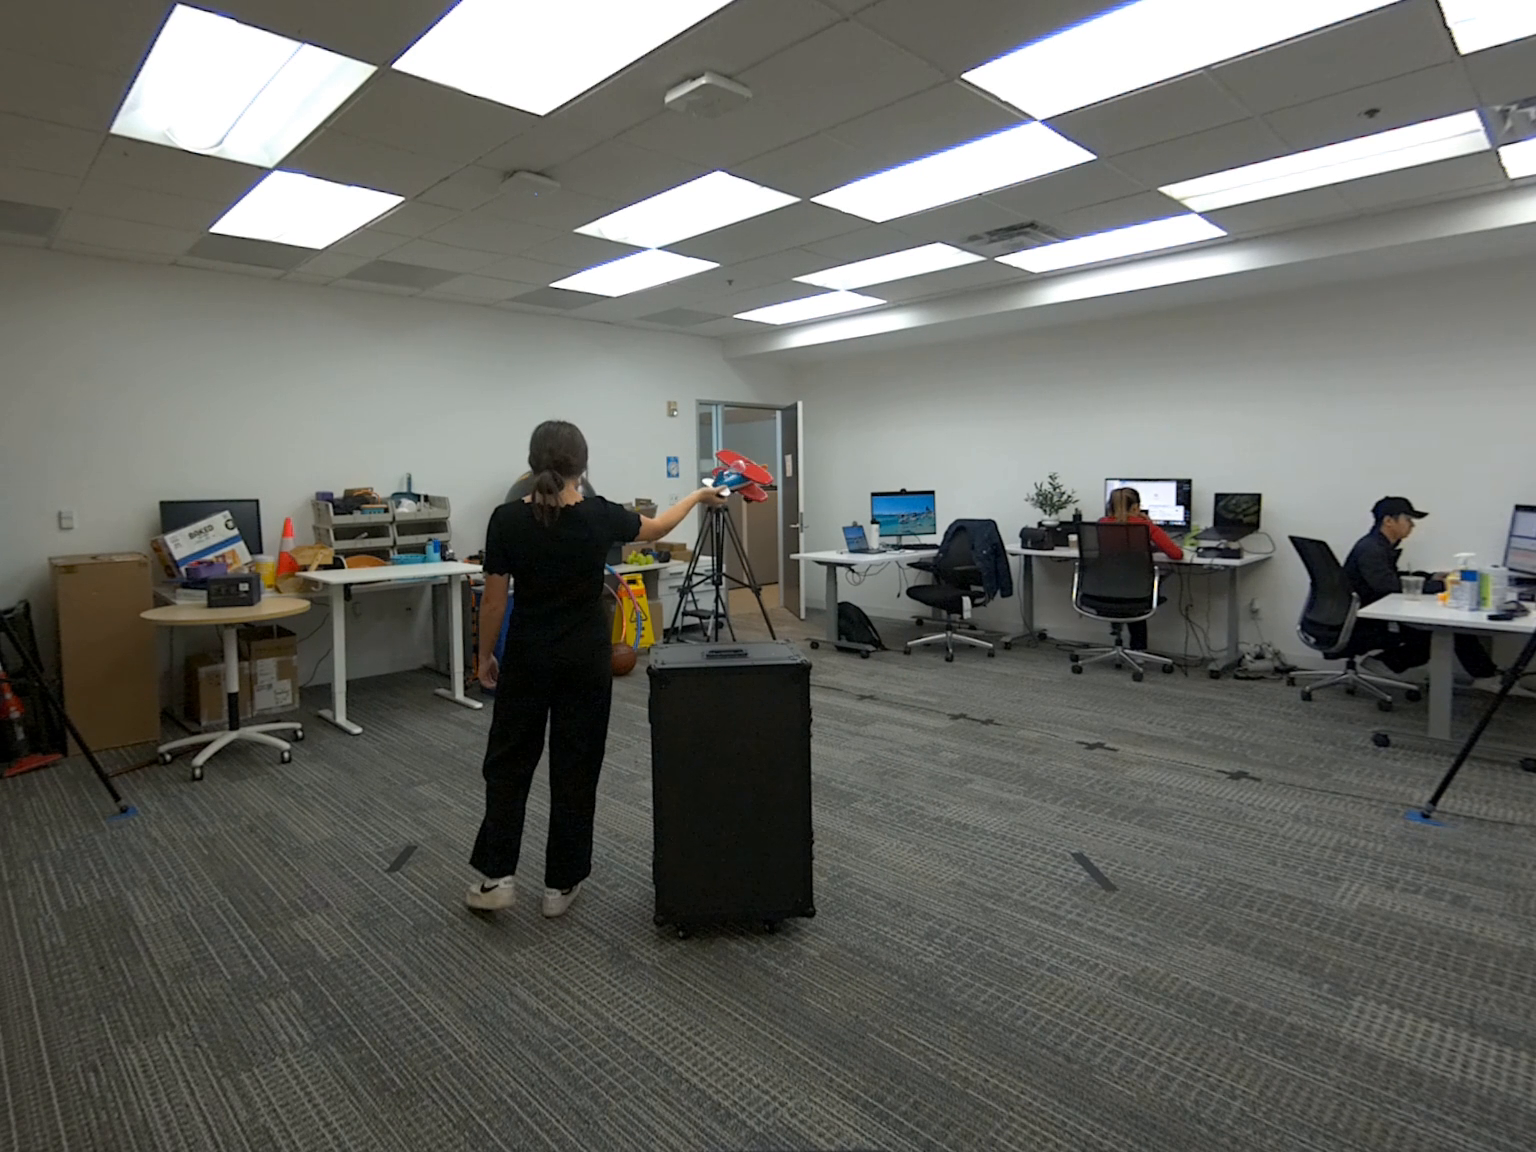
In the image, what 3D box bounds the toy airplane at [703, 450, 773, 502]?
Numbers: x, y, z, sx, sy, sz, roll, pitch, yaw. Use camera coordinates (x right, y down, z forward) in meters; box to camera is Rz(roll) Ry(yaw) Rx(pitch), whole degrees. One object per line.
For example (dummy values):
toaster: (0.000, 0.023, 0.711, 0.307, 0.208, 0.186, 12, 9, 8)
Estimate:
toy airplane: (-0.109, -0.353, 3.206, 0.251, 0.155, 0.262, 22, 22, -1)
